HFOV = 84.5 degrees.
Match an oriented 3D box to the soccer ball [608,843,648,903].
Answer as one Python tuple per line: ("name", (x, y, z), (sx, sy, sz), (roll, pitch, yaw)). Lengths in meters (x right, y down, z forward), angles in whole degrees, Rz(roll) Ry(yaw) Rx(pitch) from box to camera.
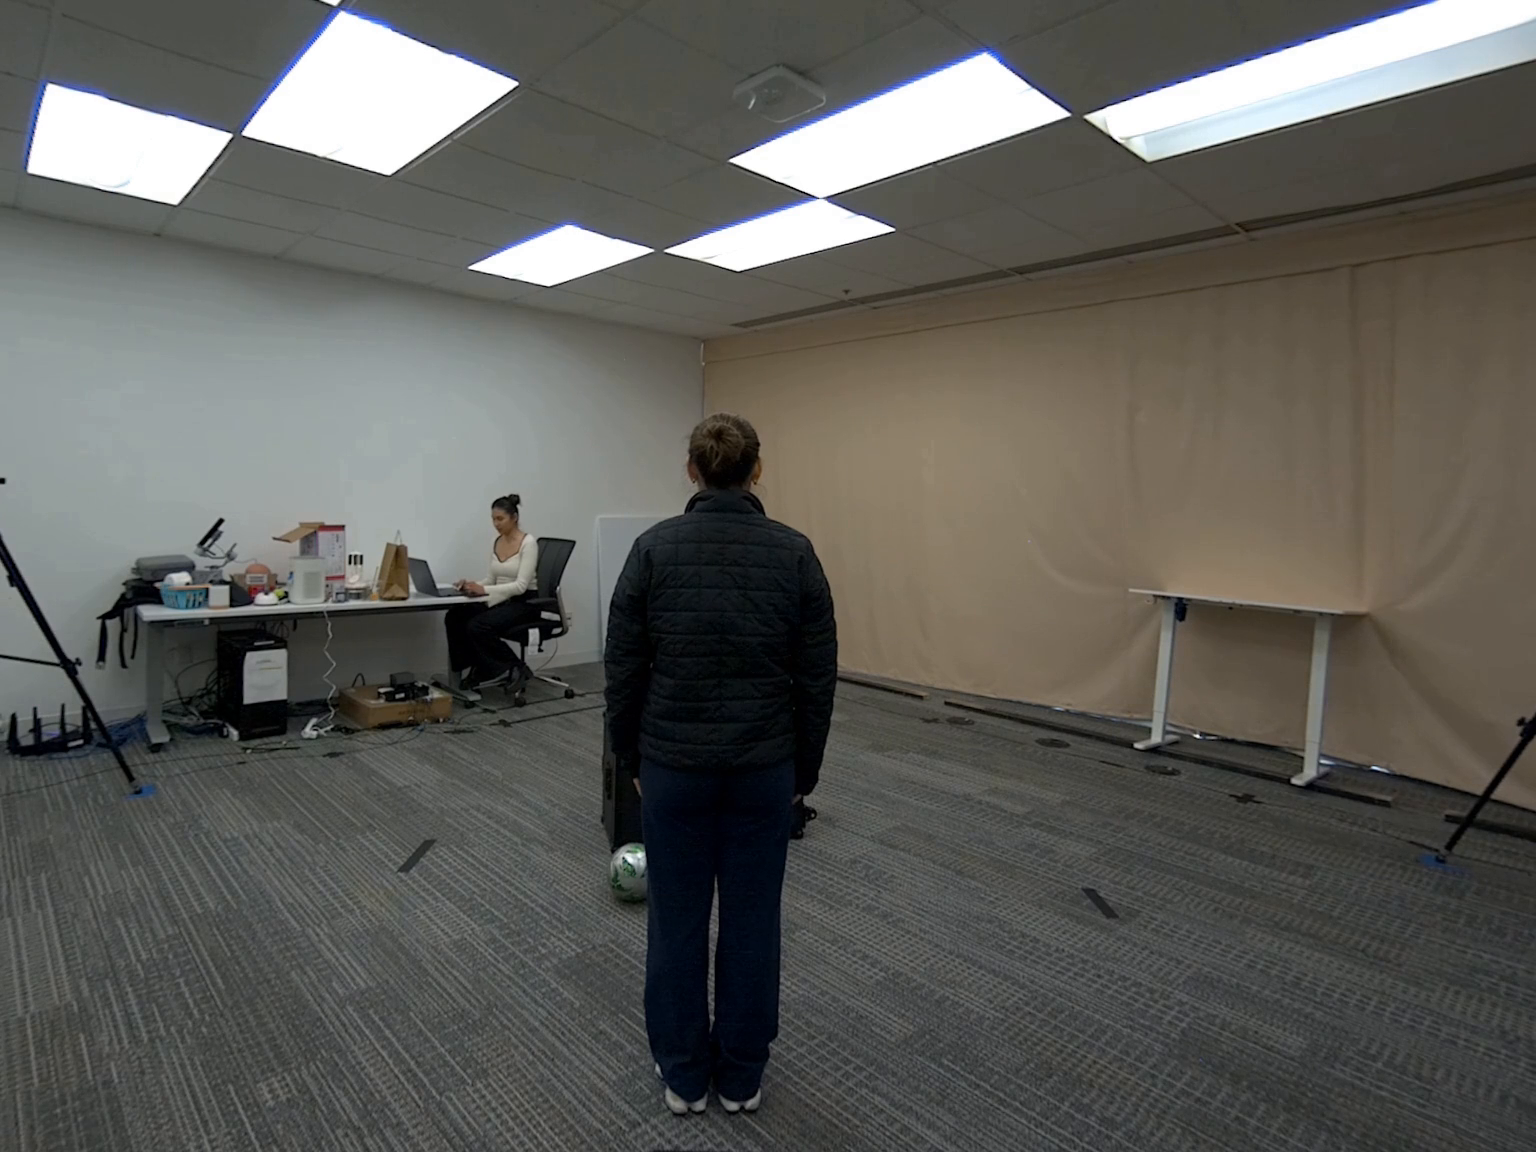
("soccer ball", (-0.472, 1.025, 2.913), (0.187, 0.187, 0.188), (1, 4, -1))
